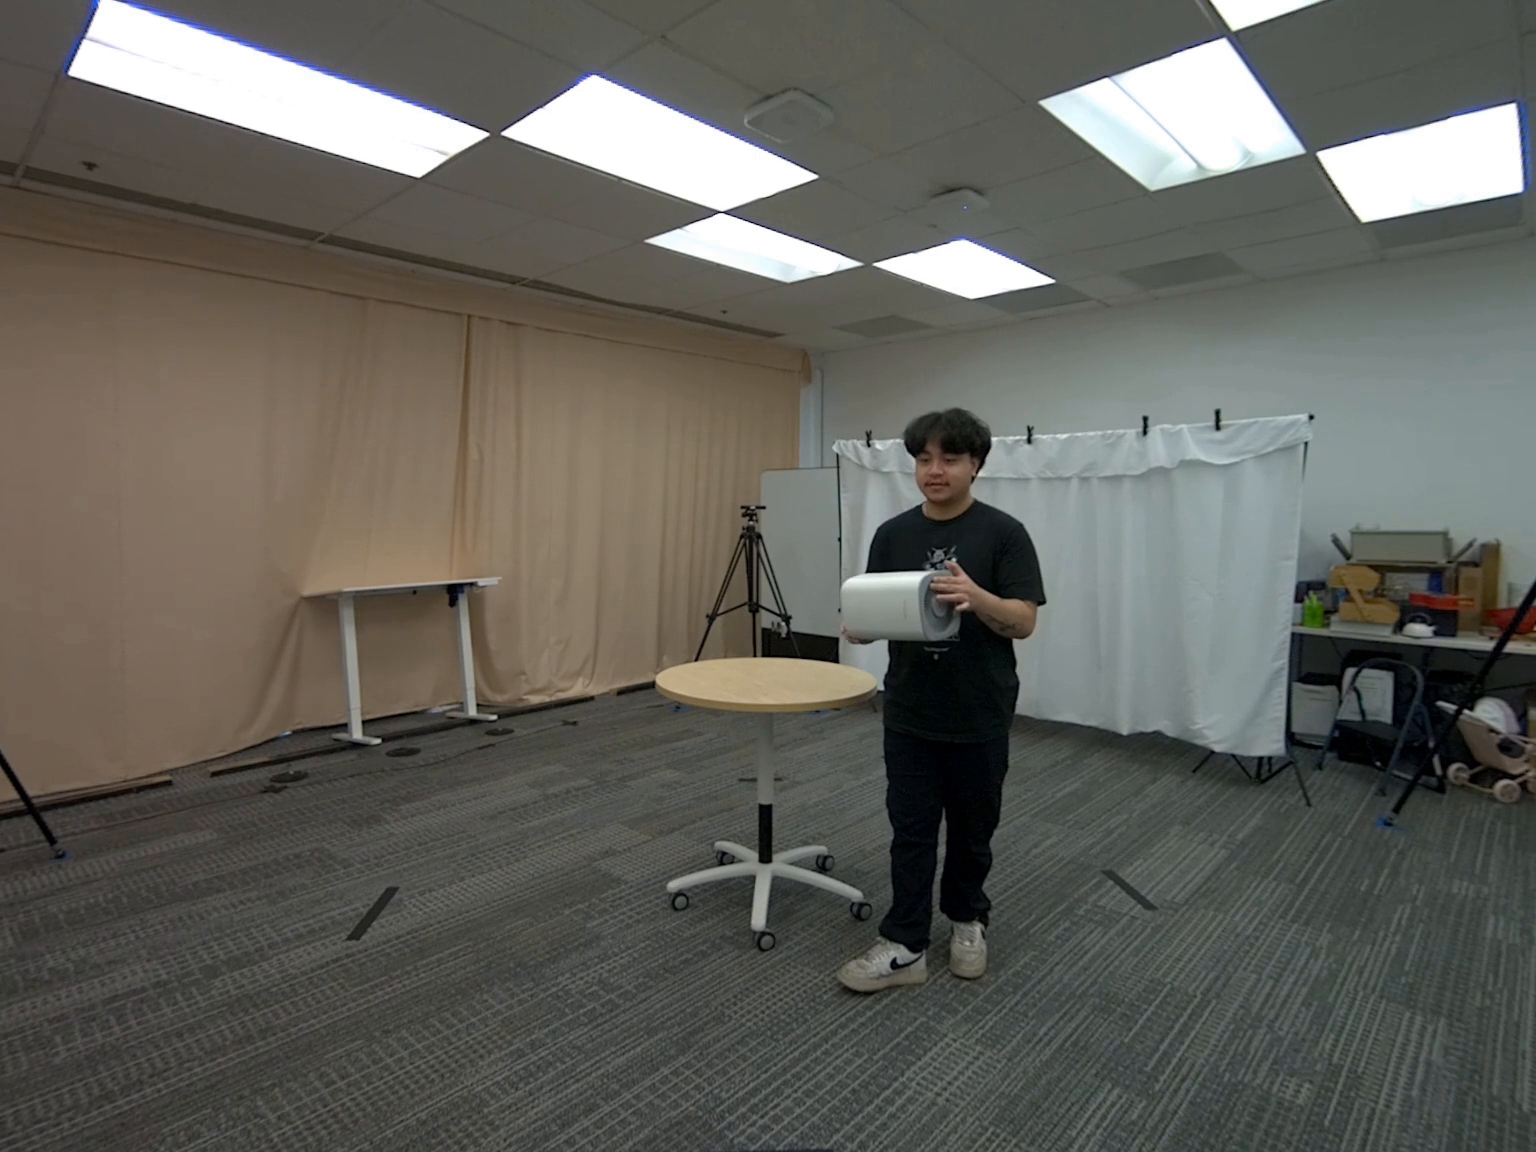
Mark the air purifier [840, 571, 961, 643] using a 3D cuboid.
[{"bbox_3d":[0.335,0.080,2.213,0.166,0.171,0.273,-8,3,-44],"label":"air purifier"}]
